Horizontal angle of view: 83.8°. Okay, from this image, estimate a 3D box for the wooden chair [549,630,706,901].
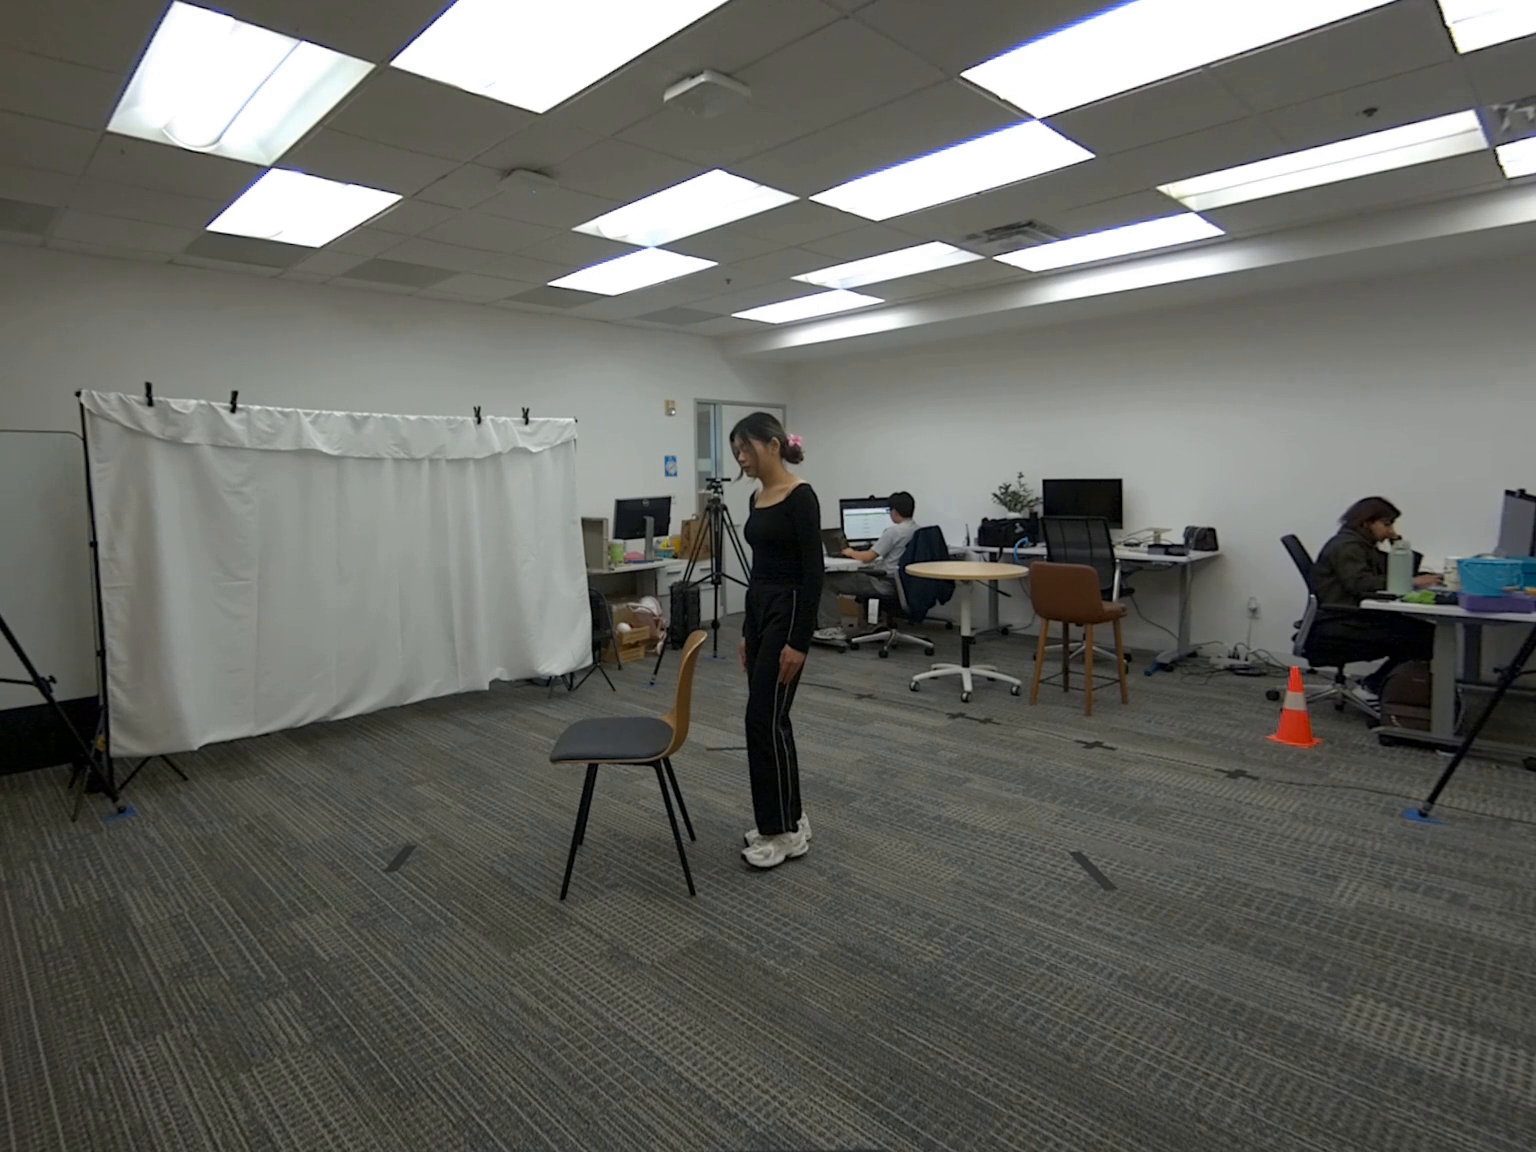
[{"bbox_3d":[-0.499,0.631,3.040,0.522,0.874,0.481,3,5,-4],"label":"wooden chair"}]
